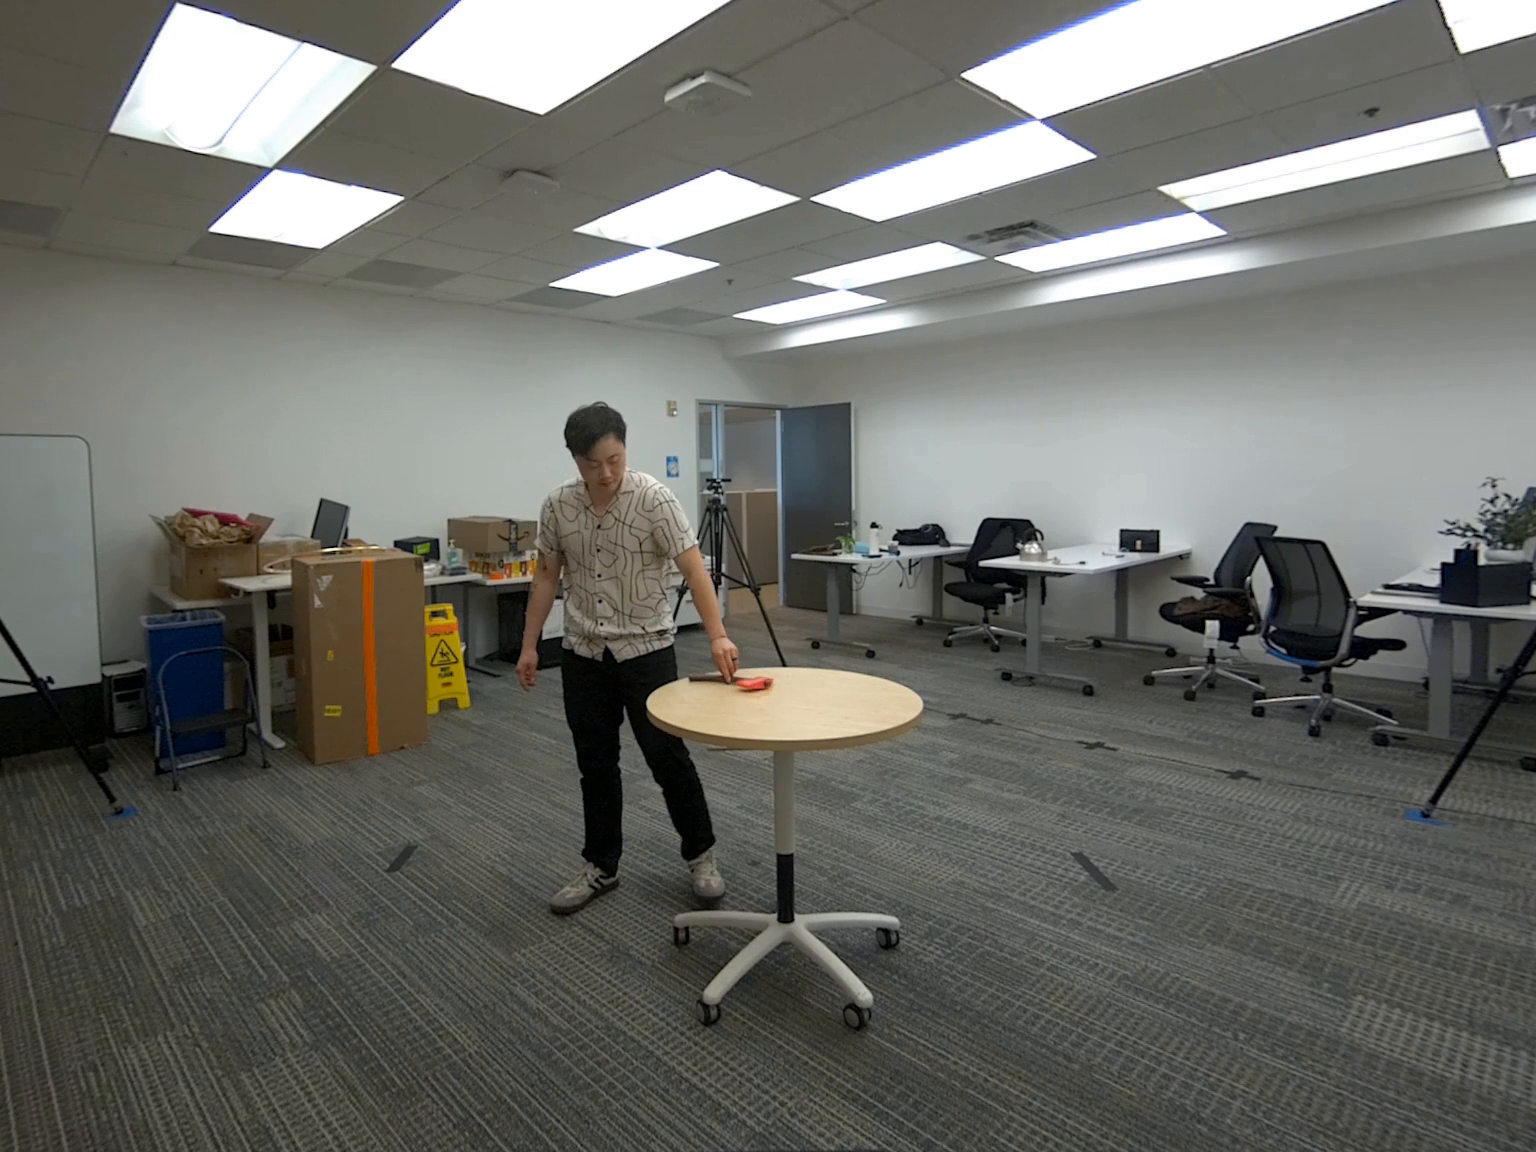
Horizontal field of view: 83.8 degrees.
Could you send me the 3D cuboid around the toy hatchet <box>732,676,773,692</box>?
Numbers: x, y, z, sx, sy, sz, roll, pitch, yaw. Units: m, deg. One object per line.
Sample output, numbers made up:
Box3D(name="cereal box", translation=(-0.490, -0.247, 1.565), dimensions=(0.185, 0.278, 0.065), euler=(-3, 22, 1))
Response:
Box3D(name="toy hatchet", translation=(-0.112, 0.316, 2.534), dimensions=(0.274, 0.029, 0.129), euler=(-1, 3, 17))
